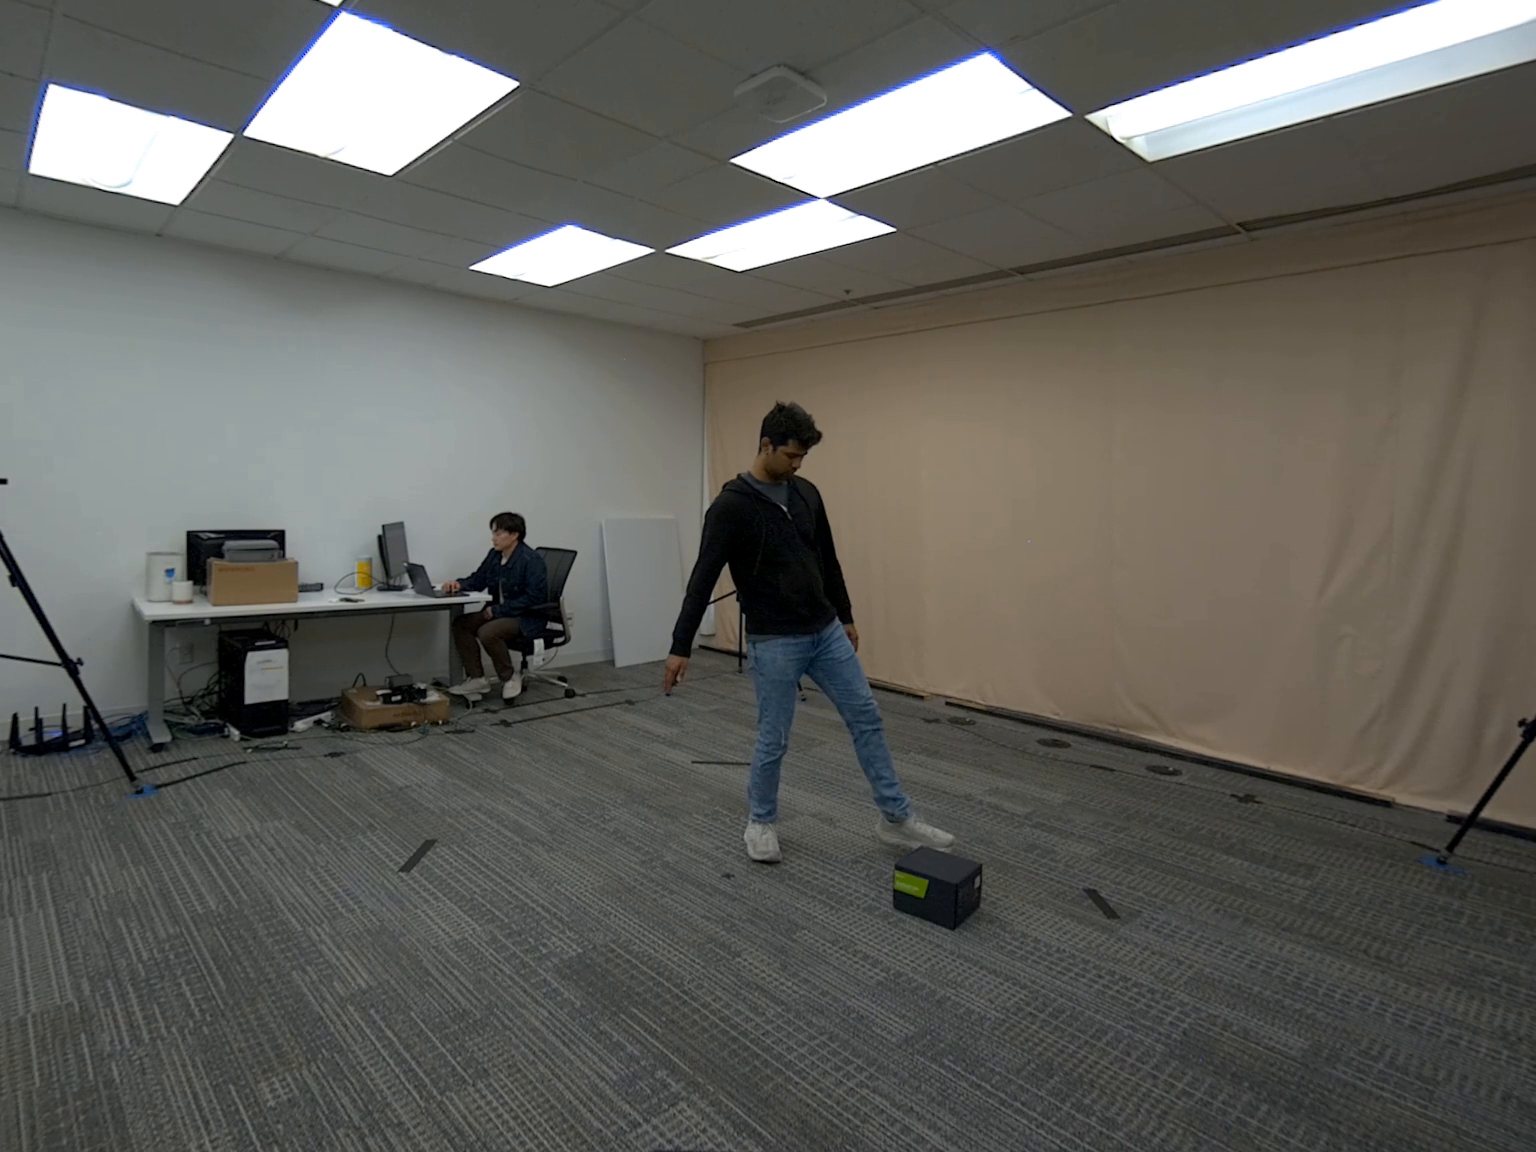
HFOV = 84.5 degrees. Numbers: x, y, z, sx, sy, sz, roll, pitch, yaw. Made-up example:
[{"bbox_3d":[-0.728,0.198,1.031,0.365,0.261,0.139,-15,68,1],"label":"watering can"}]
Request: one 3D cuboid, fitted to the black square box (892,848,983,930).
[{"bbox_3d":[0.567,1.060,2.899,0.233,0.155,0.212,5,5,36],"label":"black square box"}]
